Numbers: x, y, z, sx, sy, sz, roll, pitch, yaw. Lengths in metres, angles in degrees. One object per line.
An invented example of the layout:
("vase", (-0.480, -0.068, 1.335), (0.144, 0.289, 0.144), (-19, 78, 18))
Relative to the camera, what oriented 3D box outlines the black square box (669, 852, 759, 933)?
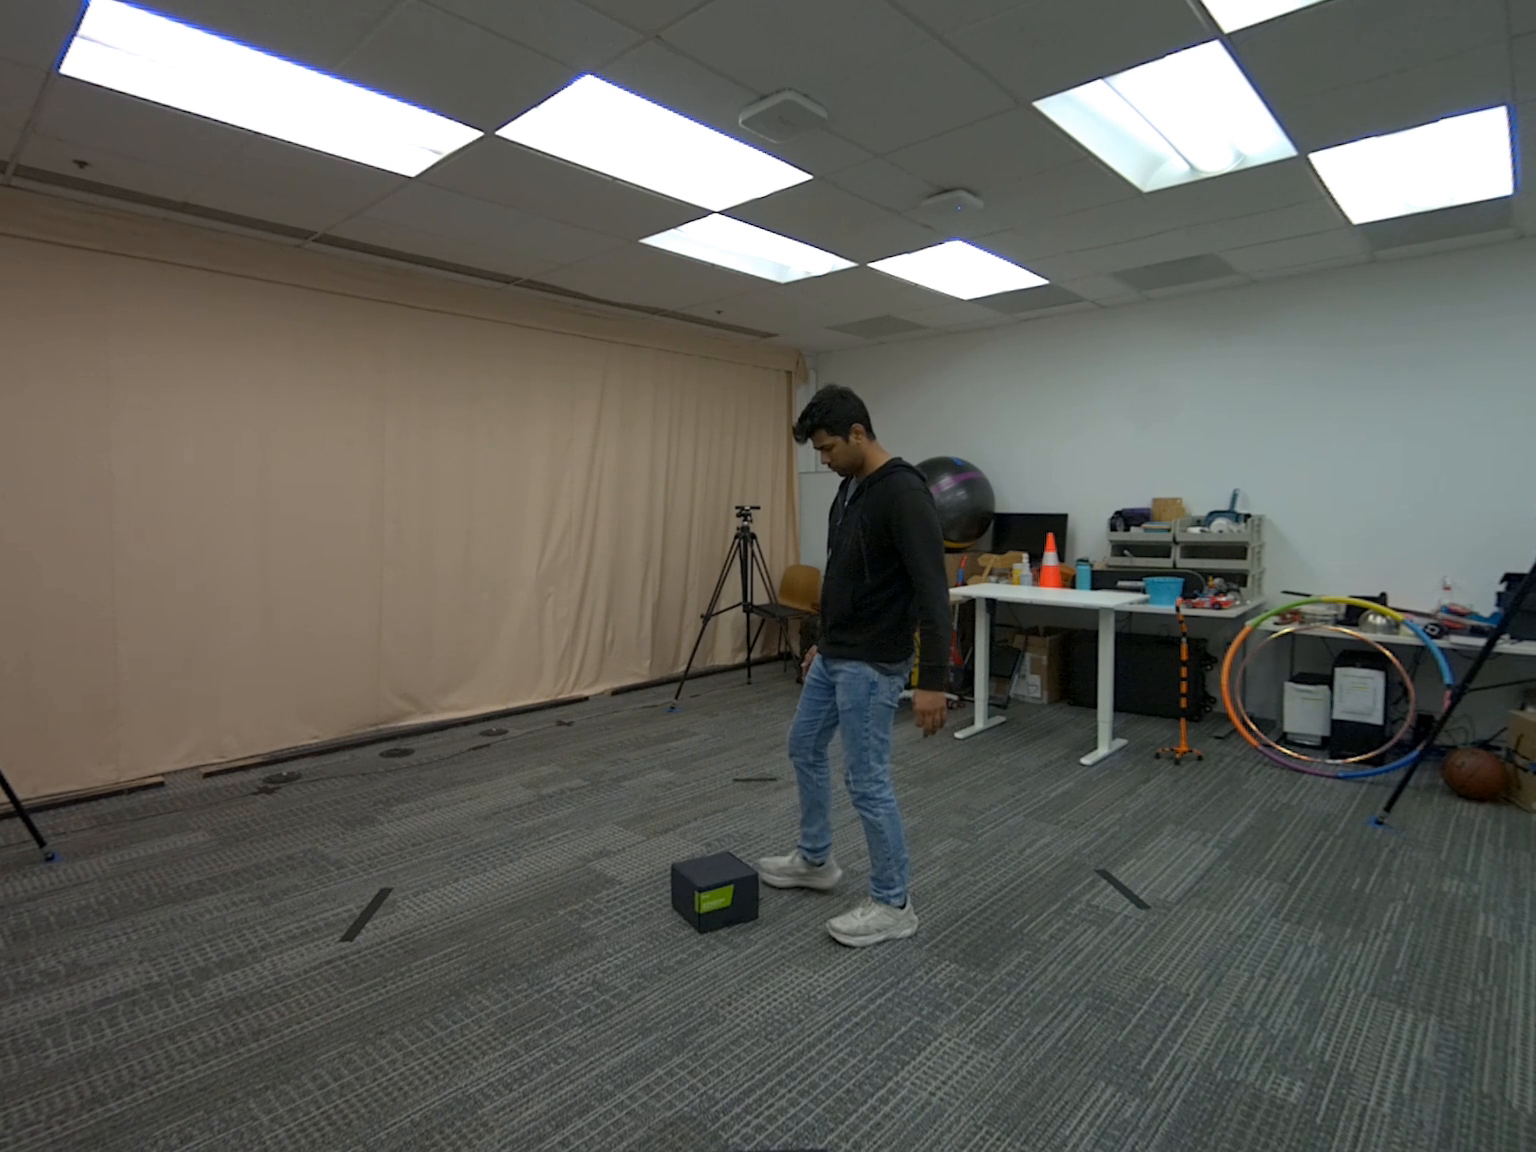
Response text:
("black square box", (-0.176, 1.072, 2.868), (0.222, 0.155, 0.223), (-3, 5, -30))
